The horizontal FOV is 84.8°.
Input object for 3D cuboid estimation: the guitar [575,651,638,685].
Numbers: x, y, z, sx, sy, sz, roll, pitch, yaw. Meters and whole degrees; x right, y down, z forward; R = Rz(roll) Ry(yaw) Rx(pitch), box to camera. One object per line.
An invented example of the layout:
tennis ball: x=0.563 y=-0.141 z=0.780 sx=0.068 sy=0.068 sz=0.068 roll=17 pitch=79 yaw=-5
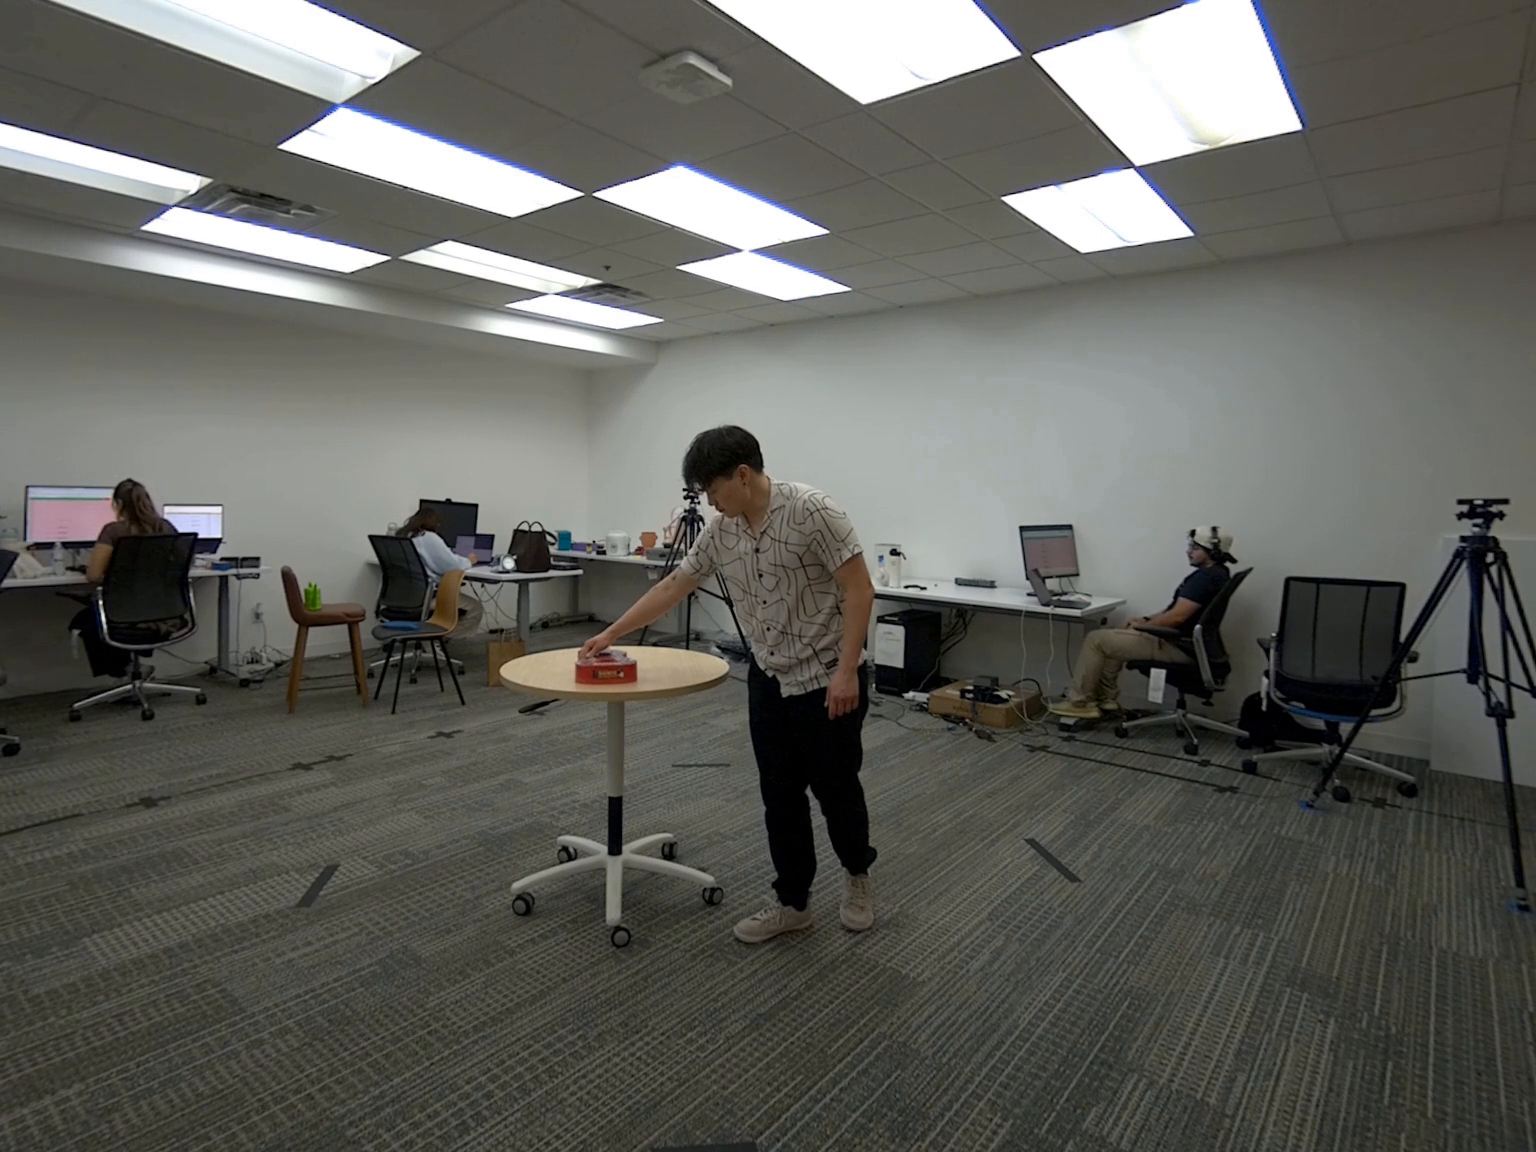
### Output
guitar: x=-0.527 y=0.270 z=2.843 sx=0.192 sy=0.070 sz=0.502 roll=-1 pitch=7 yaw=-5
